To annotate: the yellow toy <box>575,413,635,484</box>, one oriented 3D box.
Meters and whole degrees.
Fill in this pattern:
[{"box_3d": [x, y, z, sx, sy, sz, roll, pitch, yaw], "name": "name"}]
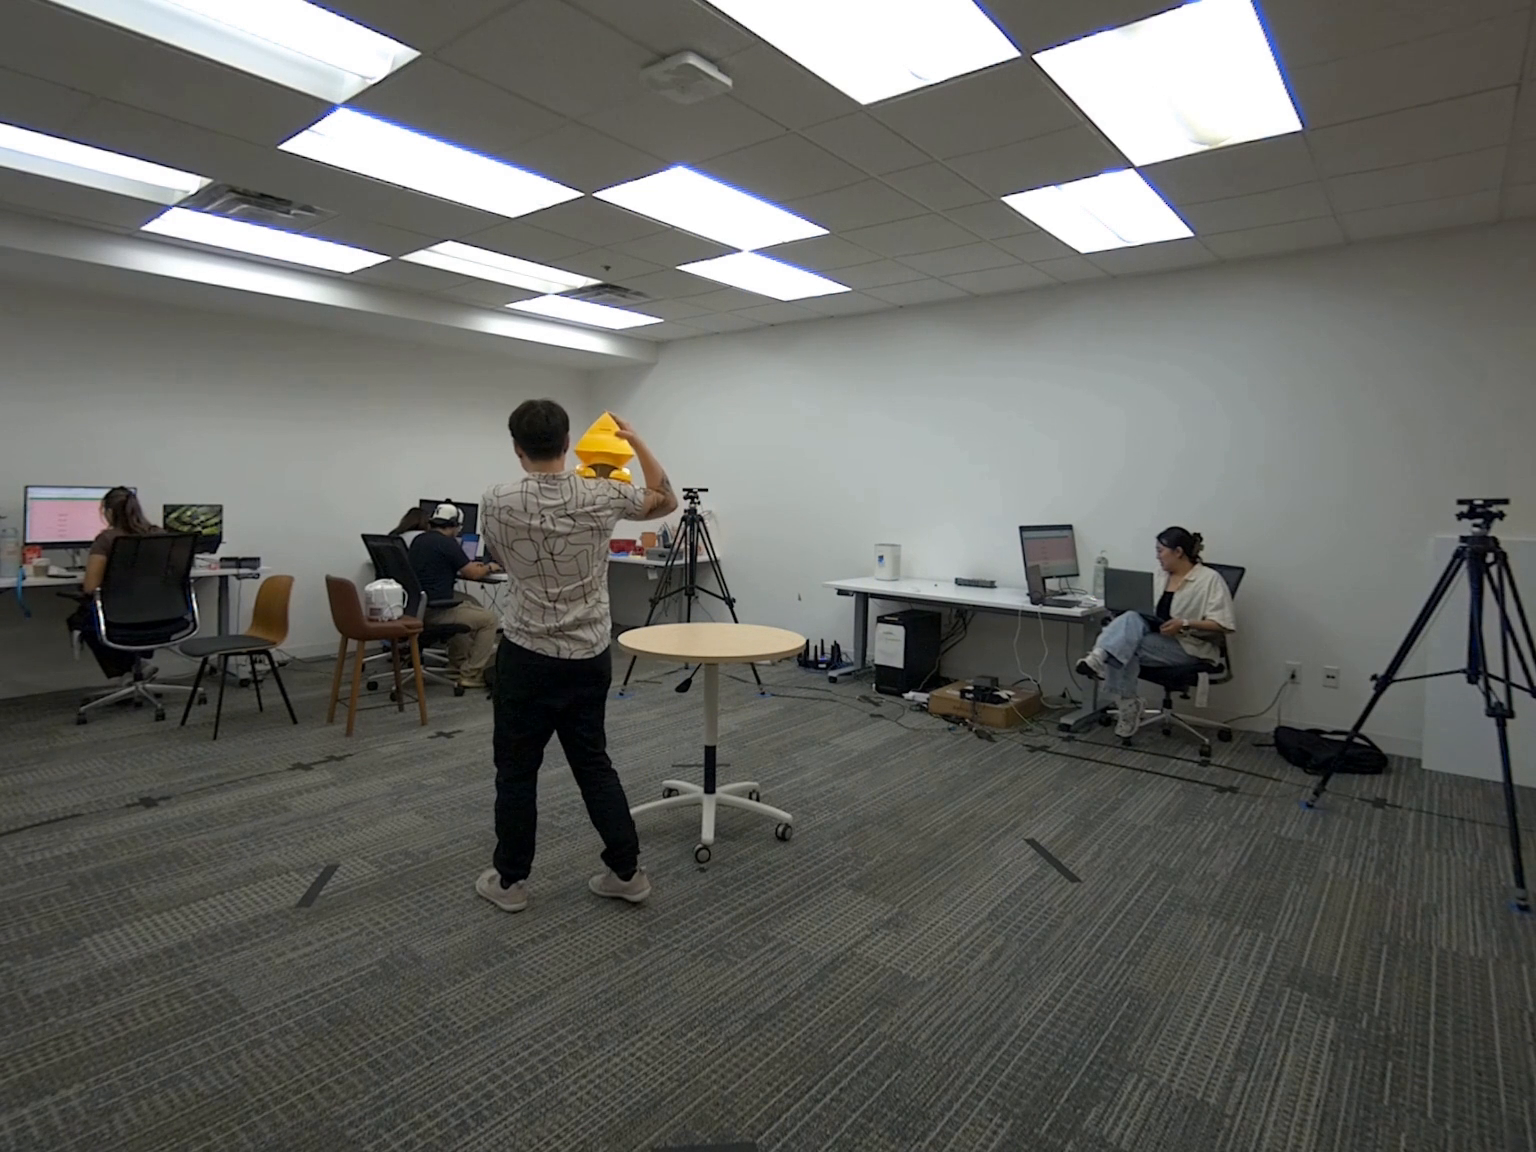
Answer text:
[{"box_3d": [-0.580, -0.439, 2.942, 0.202, 0.233, 0.193, 4, -10, -10], "name": "yellow toy"}]
